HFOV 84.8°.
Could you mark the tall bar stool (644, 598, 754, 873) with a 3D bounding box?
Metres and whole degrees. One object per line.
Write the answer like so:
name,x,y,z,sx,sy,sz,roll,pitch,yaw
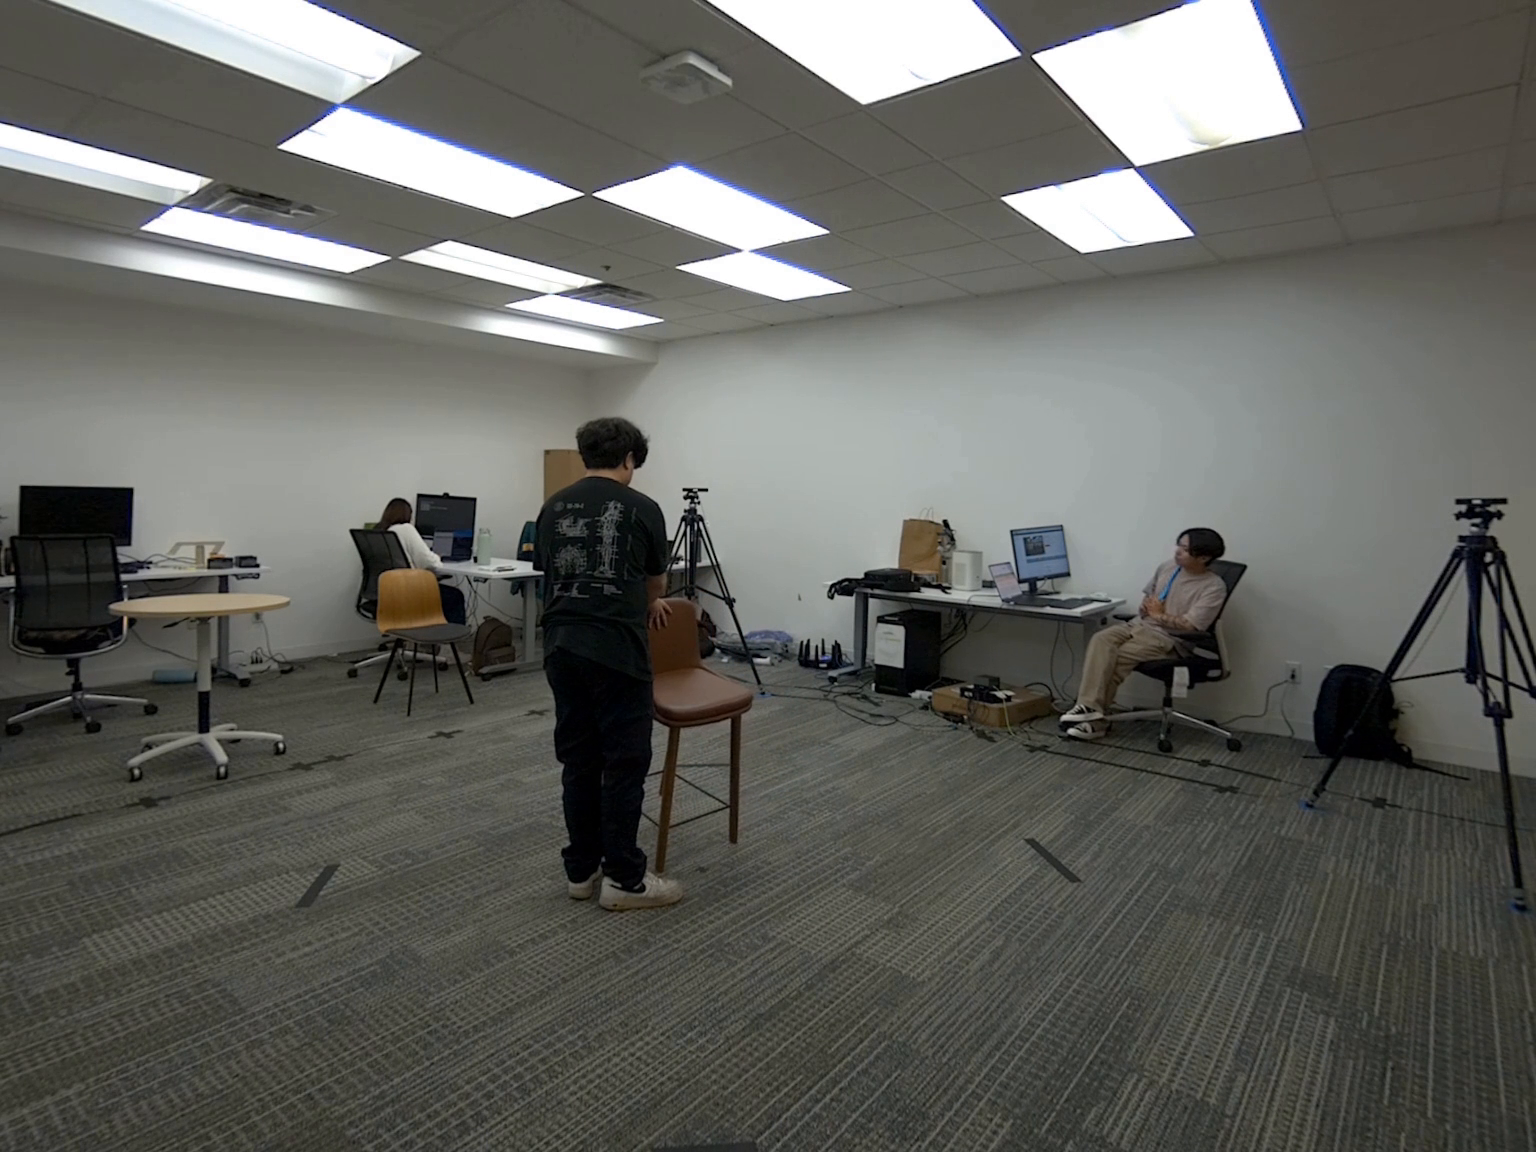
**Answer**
tall bar stool,-0.365,0.579,3.303,0.442,0.883,0.486,-2,13,-45
